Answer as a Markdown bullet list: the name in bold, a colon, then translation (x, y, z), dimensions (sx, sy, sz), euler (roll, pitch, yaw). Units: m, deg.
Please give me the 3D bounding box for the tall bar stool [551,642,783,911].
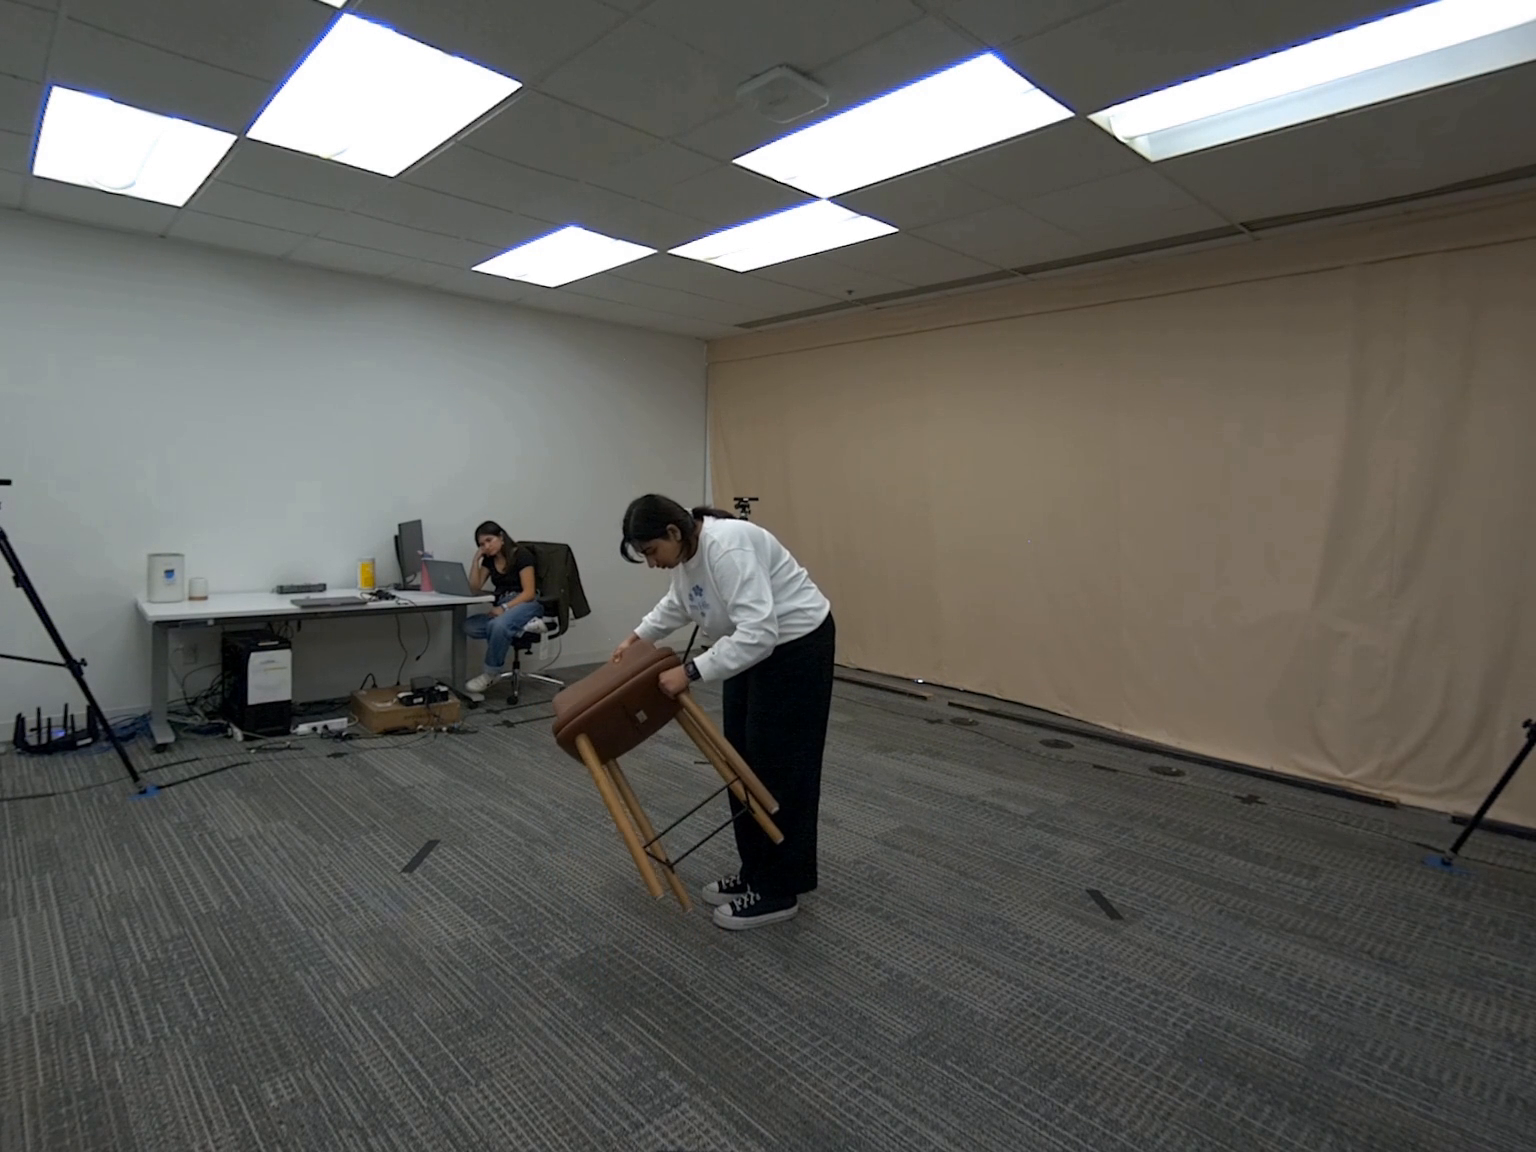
- **tall bar stool**: translation (-0.368, 0.545, 2.635), dimensions (0.455, 0.913, 0.456), euler (-34, -28, -11)
